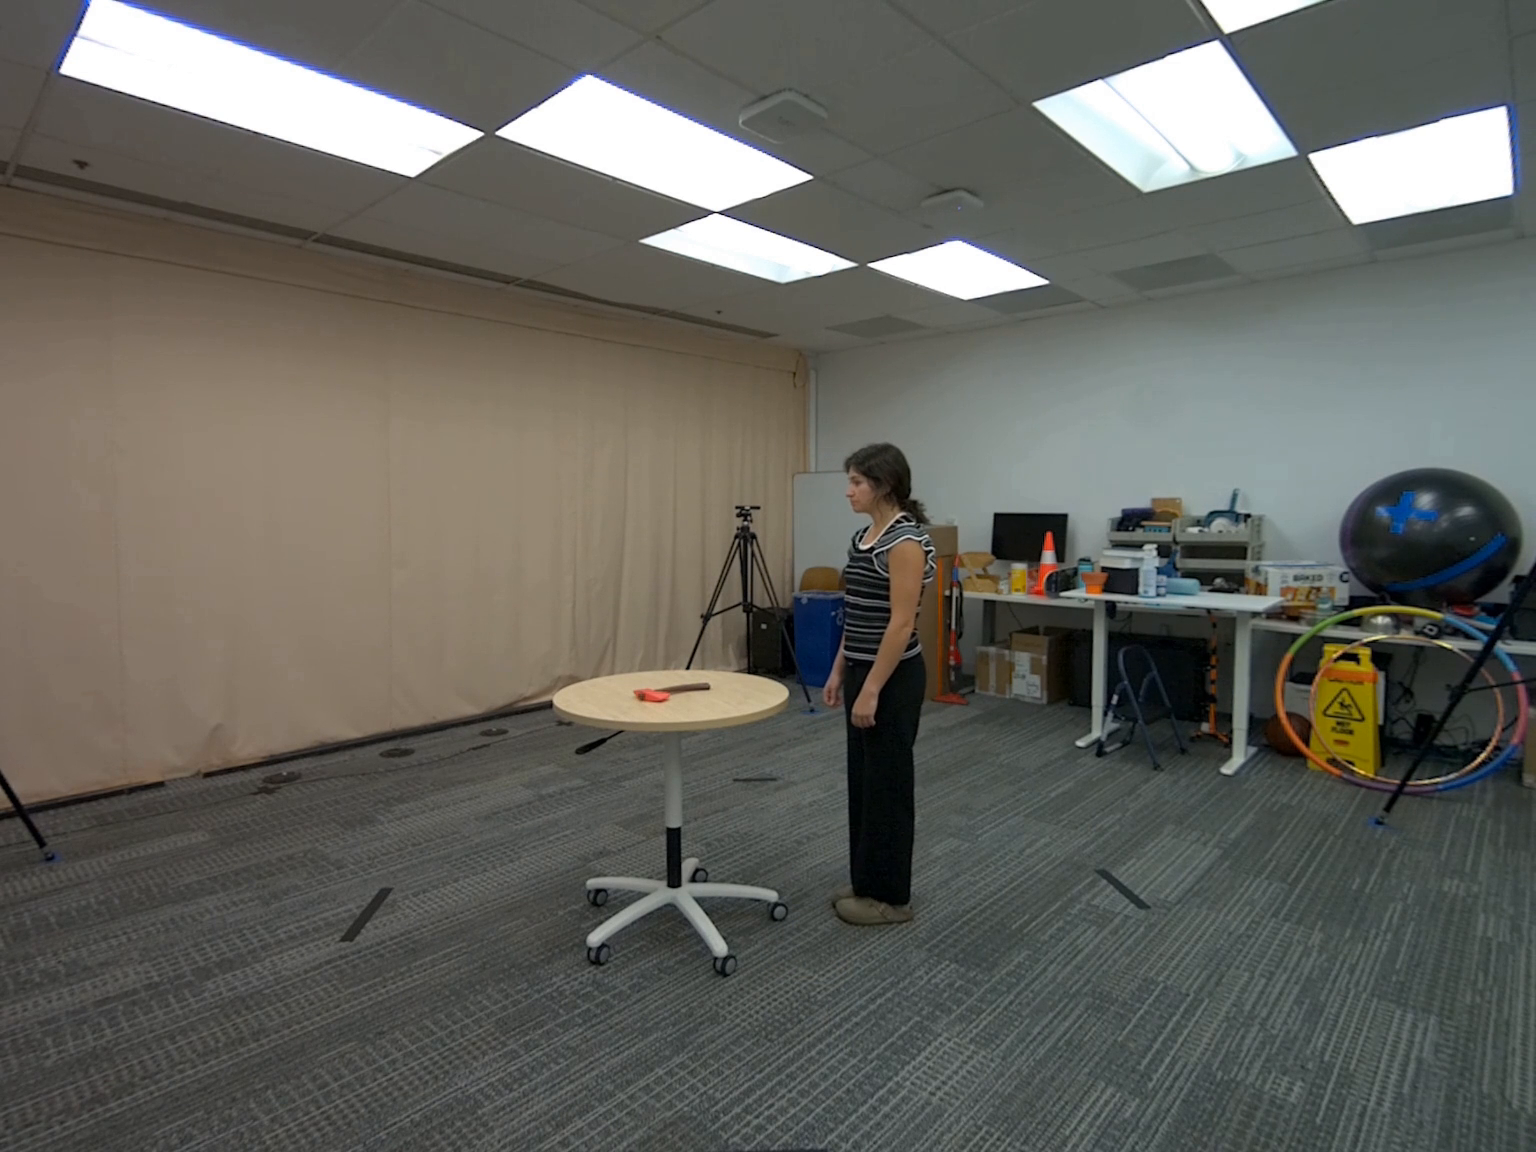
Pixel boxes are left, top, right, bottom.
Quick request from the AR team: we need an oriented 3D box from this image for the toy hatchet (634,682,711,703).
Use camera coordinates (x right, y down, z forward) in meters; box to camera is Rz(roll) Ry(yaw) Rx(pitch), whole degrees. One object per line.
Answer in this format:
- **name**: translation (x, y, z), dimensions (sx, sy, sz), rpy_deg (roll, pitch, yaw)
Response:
- **toy hatchet**: translation (-0.294, 0.375, 2.704), dimensions (0.263, 0.029, 0.134), rpy_deg (-2, 4, -26)
